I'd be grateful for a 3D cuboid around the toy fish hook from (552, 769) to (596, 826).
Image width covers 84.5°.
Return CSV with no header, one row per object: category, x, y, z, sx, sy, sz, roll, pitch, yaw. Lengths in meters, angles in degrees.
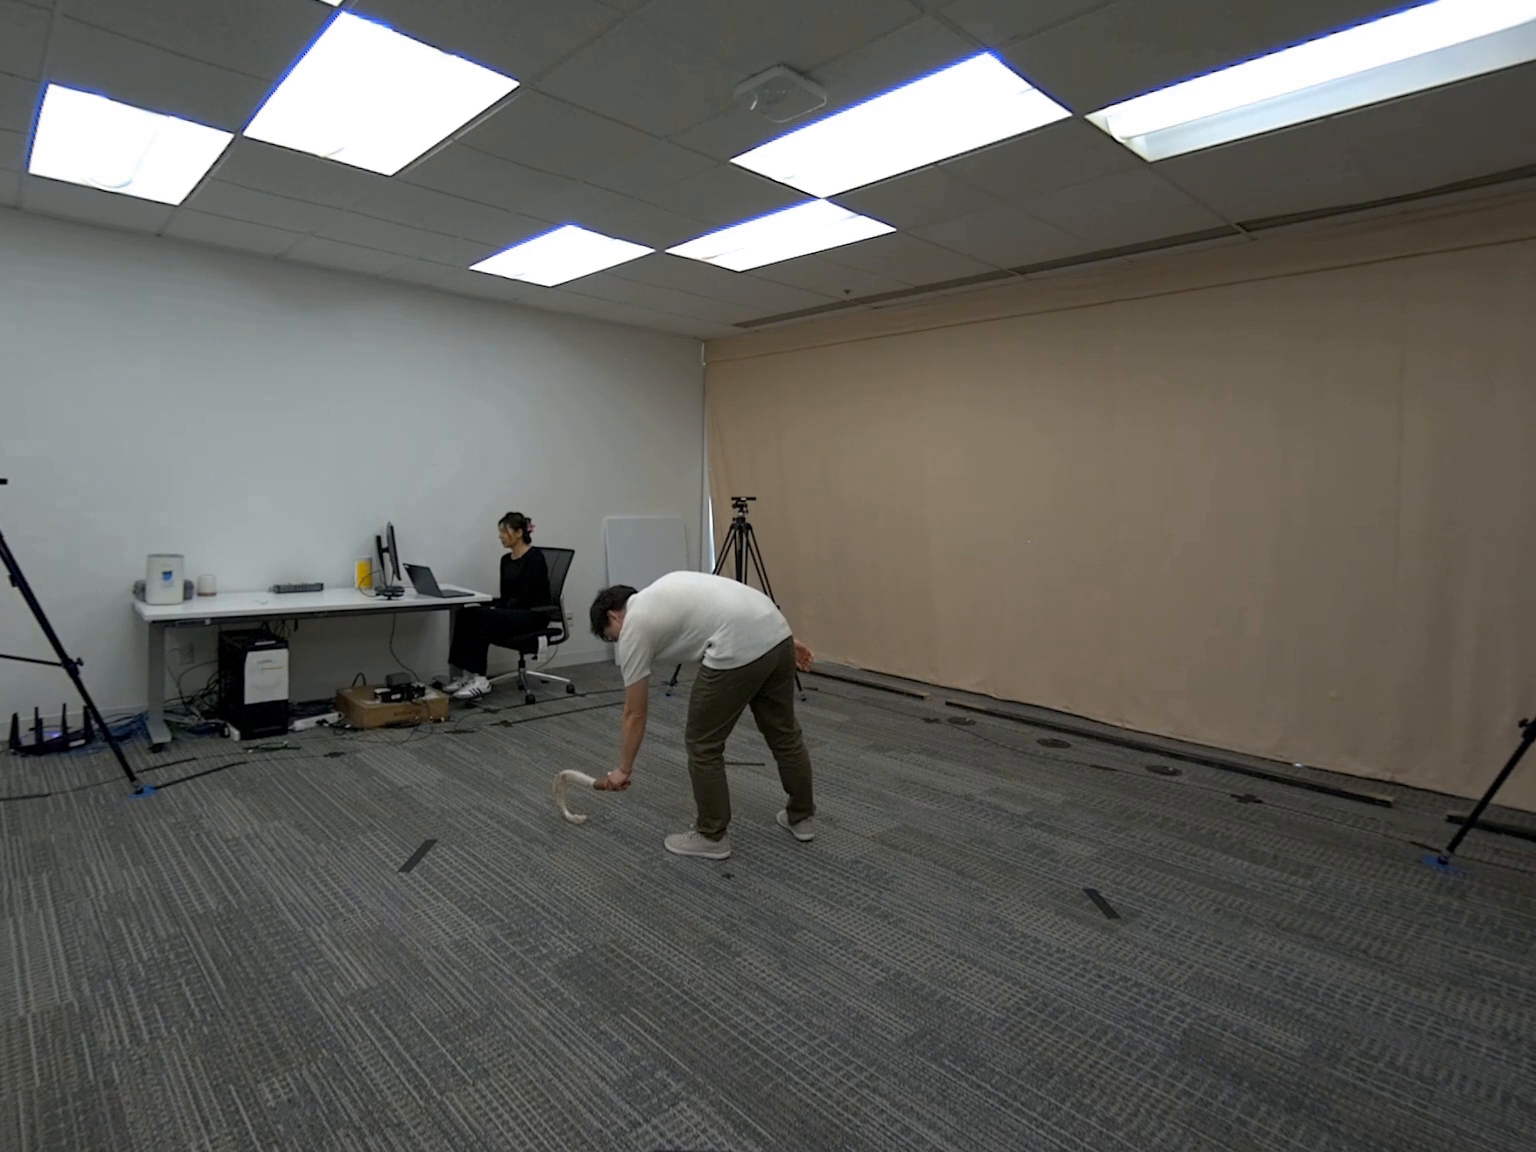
toy fish hook,-0.739,0.905,3.502,0.515,0.225,0.047,-14,-4,41
